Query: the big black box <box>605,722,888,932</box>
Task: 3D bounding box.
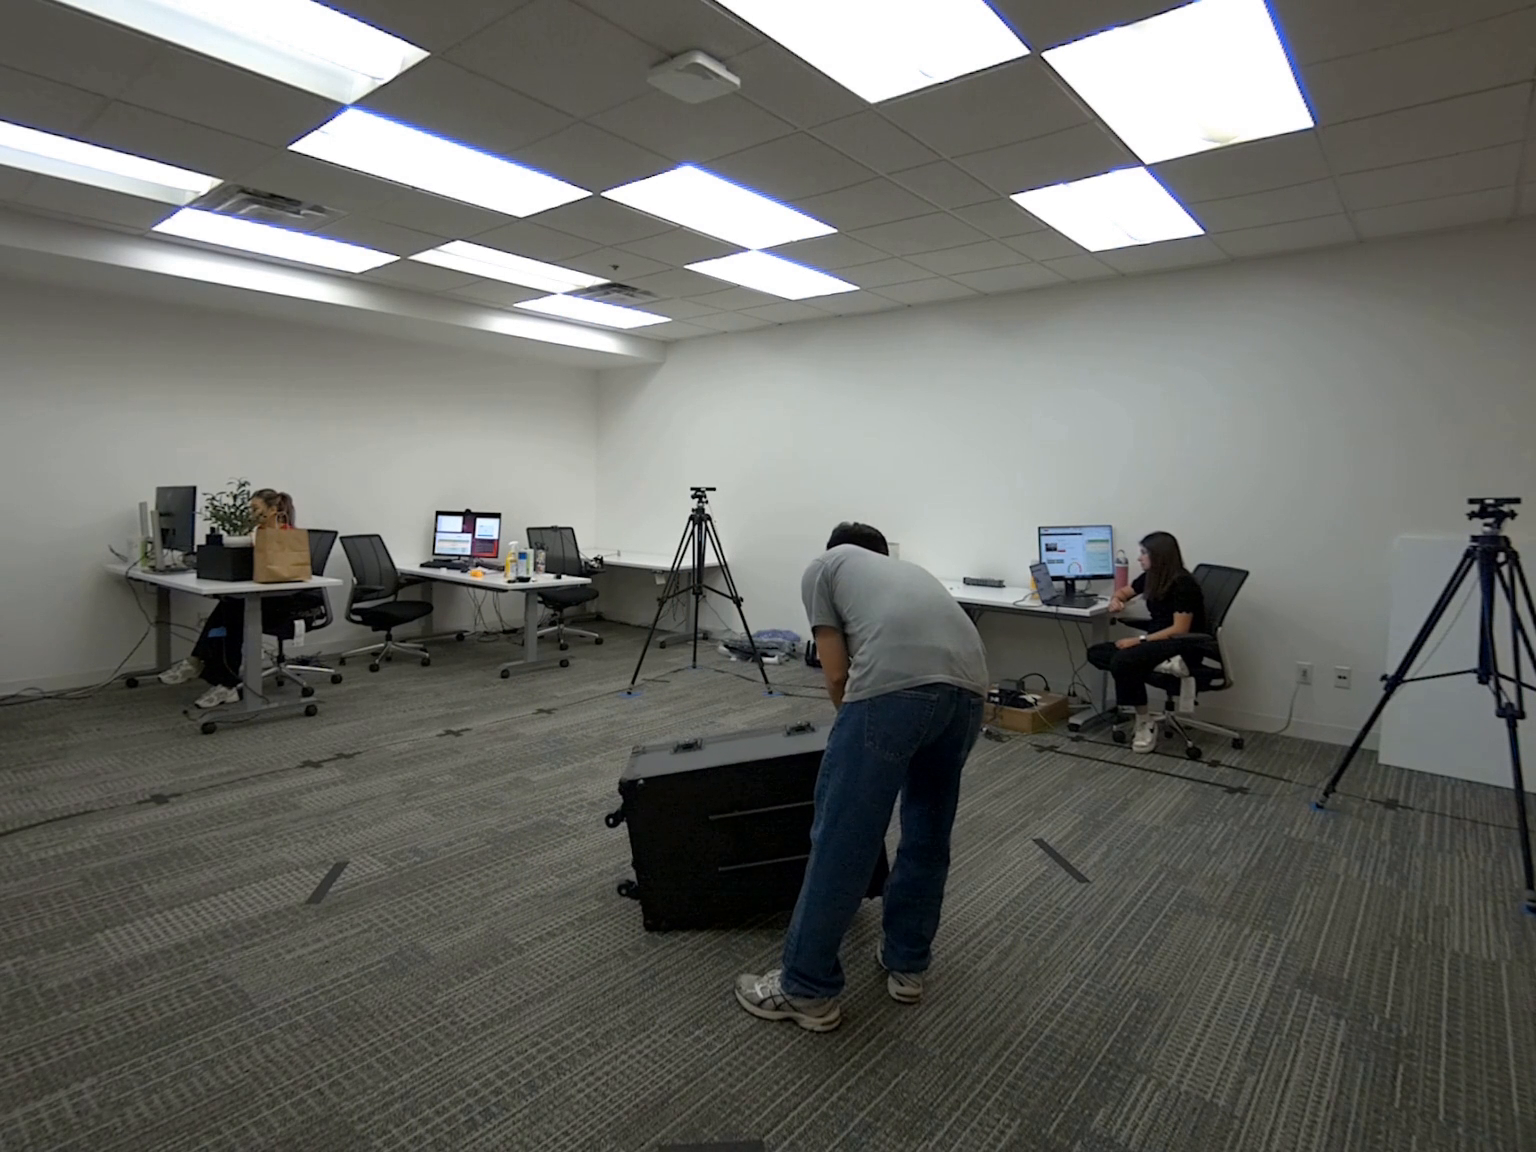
[{"bbox_3d":[-0.091,0.797,2.796,0.862,0.520,0.397,-8,3,1],"label":"big black box"}]
